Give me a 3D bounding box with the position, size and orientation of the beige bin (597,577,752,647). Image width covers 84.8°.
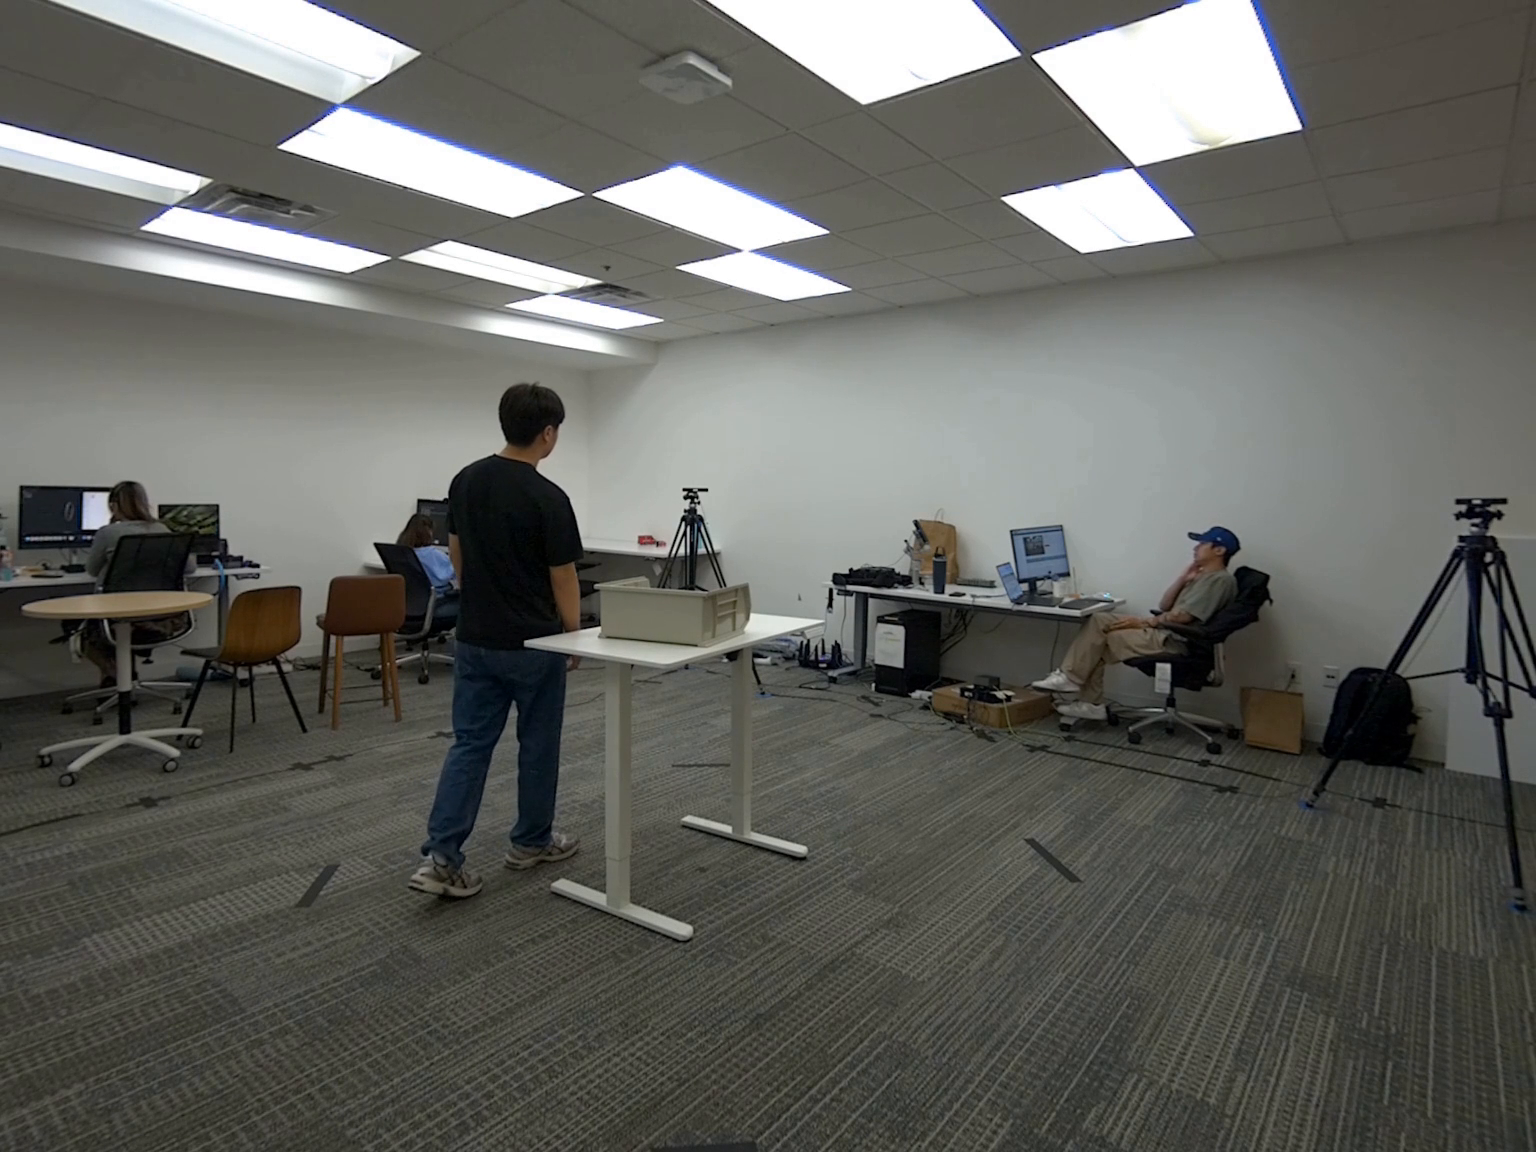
[{"bbox_3d":[-0.328,0.116,2.941,0.433,0.188,0.370,3,7,24],"label":"beige bin"}]
